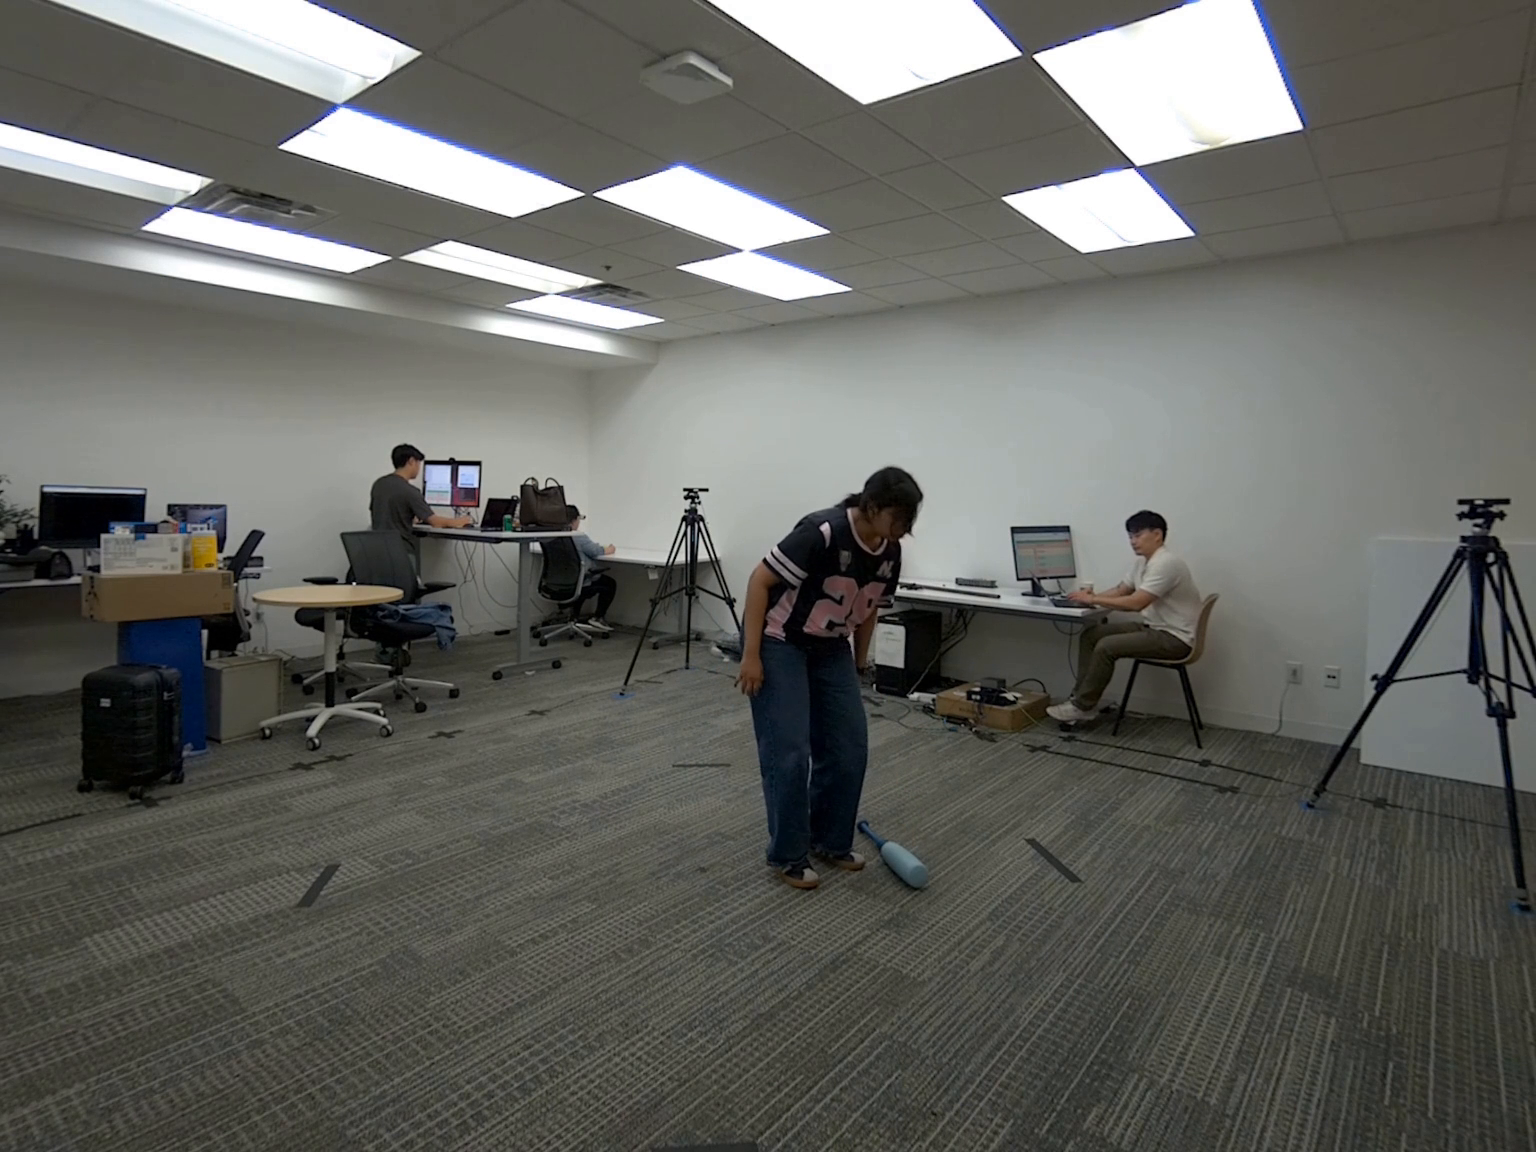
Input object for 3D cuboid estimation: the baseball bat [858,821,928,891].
[{"bbox_3d":[0.459,1.034,3.236,0.088,0.089,0.551,0,3,-15],"label":"baseball bat"}]
